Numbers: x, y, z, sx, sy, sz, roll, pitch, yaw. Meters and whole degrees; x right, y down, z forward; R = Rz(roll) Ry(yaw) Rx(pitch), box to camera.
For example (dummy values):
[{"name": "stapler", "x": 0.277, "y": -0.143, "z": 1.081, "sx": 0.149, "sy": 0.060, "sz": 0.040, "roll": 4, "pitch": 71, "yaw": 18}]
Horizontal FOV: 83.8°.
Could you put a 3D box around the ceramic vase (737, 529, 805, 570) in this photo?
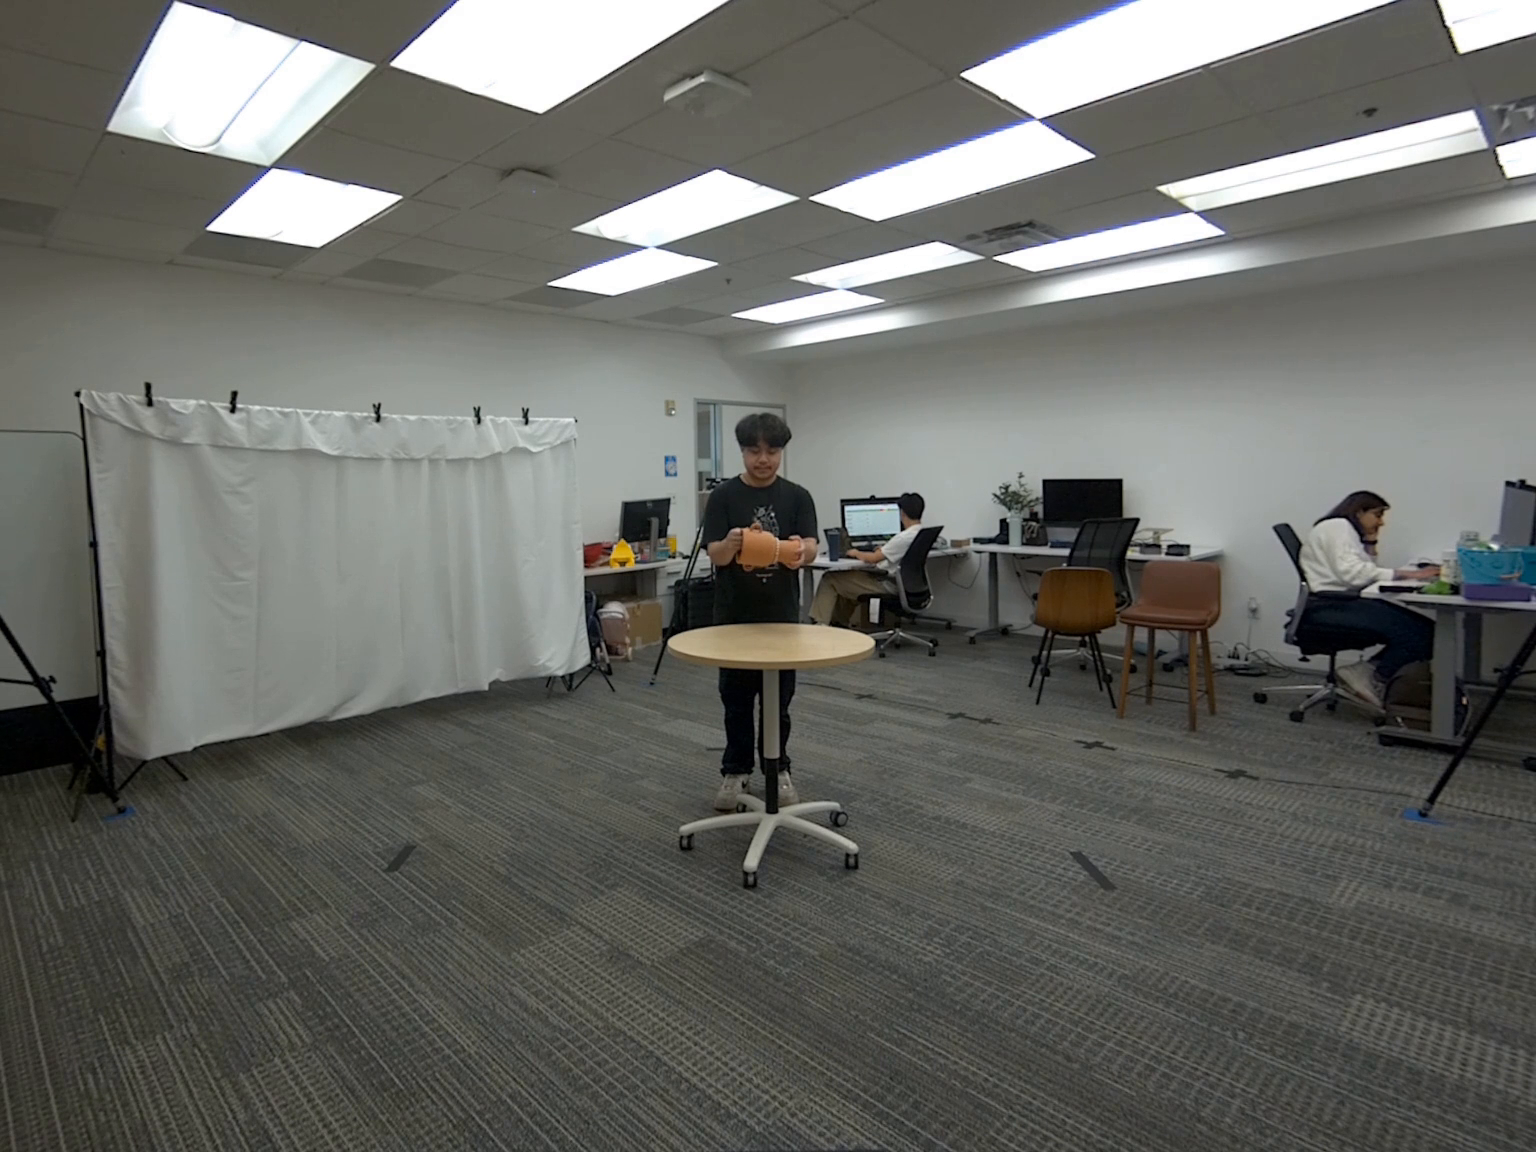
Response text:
[{"name": "ceramic vase", "x": -0.010, "y": -0.101, "z": 3.224, "sx": 0.217, "sy": 0.137, "sz": 0.157, "roll": 7, "pitch": -25, "yaw": -11}]
